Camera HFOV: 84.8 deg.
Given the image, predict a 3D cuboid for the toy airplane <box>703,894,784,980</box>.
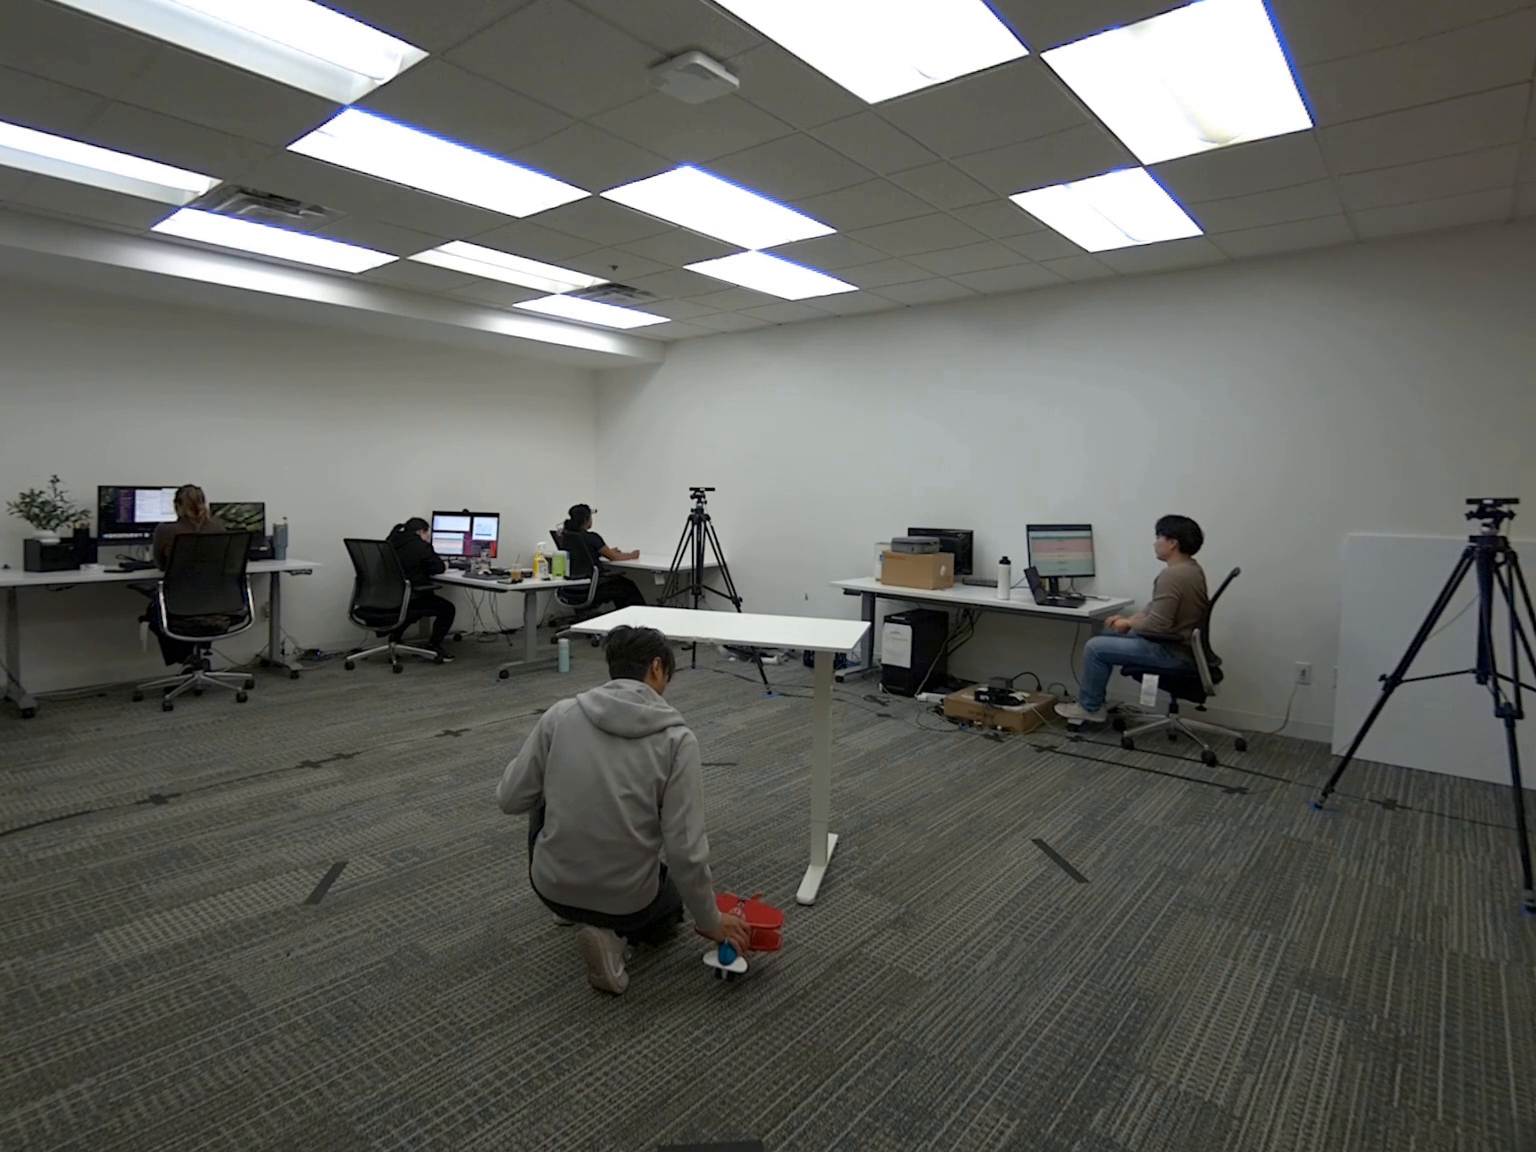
[{"bbox_3d":[-0.077,1.031,2.406,0.247,0.156,0.264,3,5,-14],"label":"toy airplane"}]
